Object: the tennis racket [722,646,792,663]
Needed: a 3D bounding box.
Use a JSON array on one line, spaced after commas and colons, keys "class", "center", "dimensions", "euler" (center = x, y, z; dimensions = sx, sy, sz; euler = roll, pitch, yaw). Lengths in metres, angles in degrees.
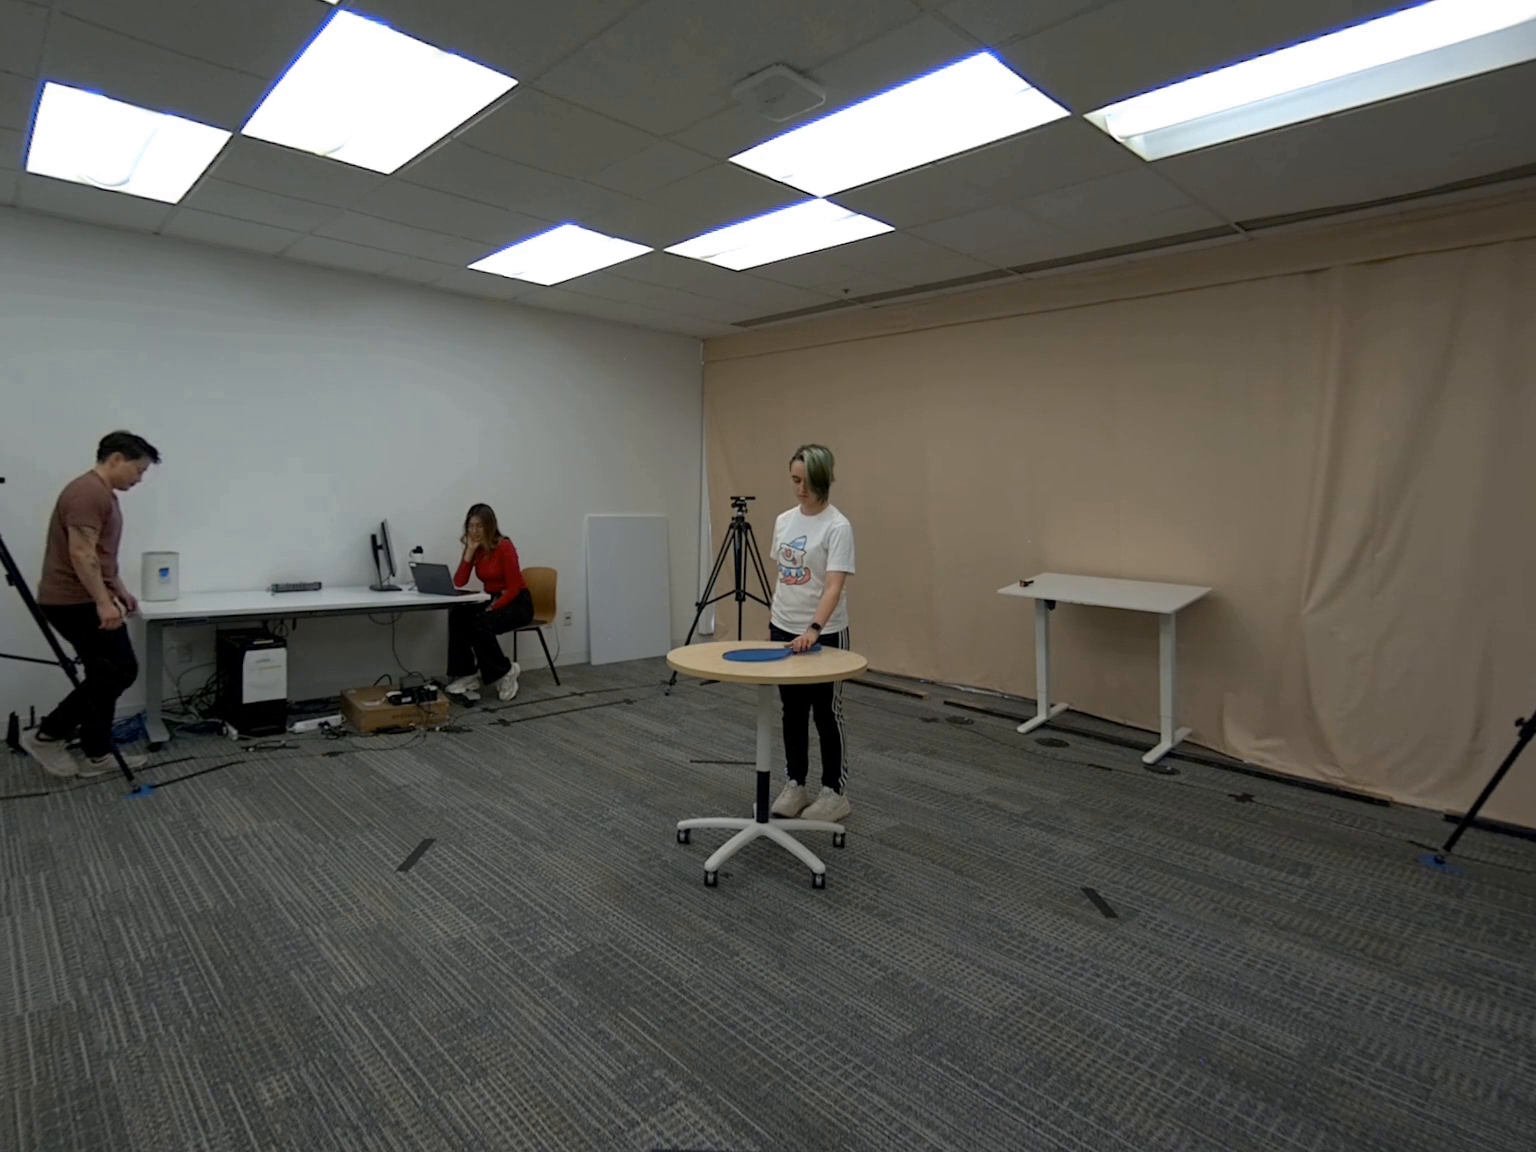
[{"class": "tennis racket", "center": [0.007, 0.300, 3.271], "dimensions": [0.424, 0.031, 0.219], "euler": [-4, 6, -34]}]
